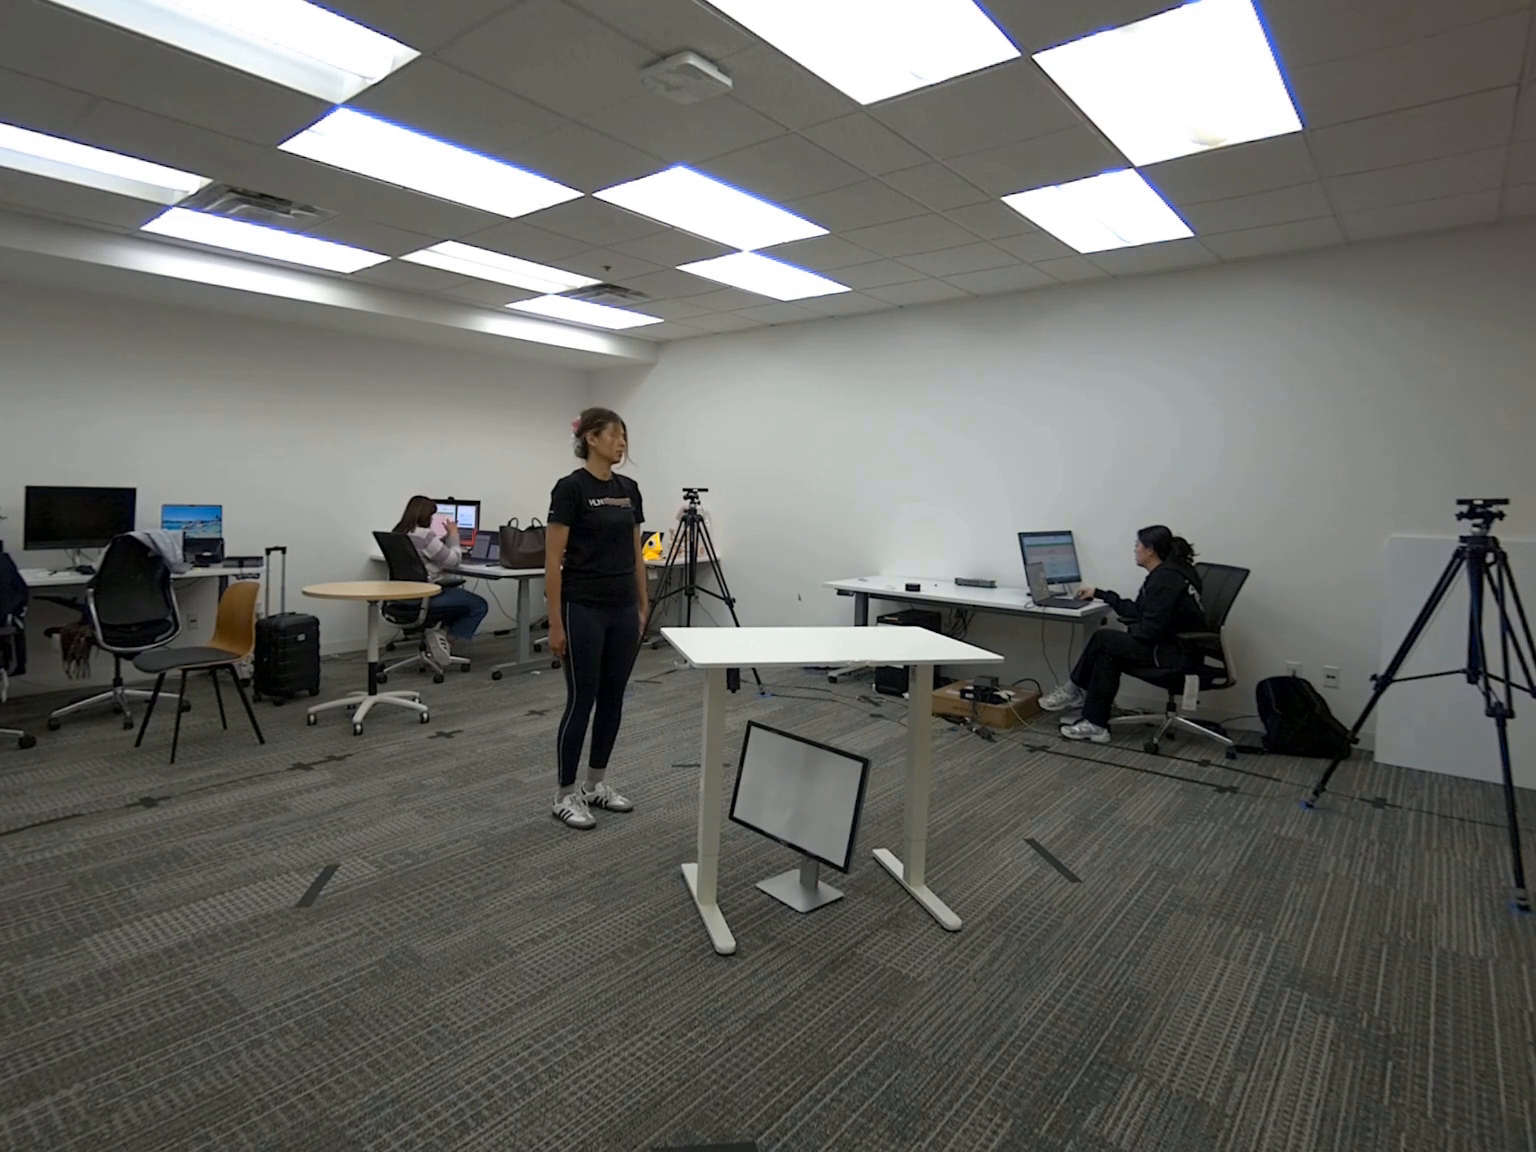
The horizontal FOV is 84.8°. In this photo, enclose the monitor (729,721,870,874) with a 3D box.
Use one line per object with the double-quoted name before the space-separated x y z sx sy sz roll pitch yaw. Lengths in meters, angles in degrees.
"monitor" 0.113 0.828 2.929 0.181 0.521 0.557 -3 5 -44
